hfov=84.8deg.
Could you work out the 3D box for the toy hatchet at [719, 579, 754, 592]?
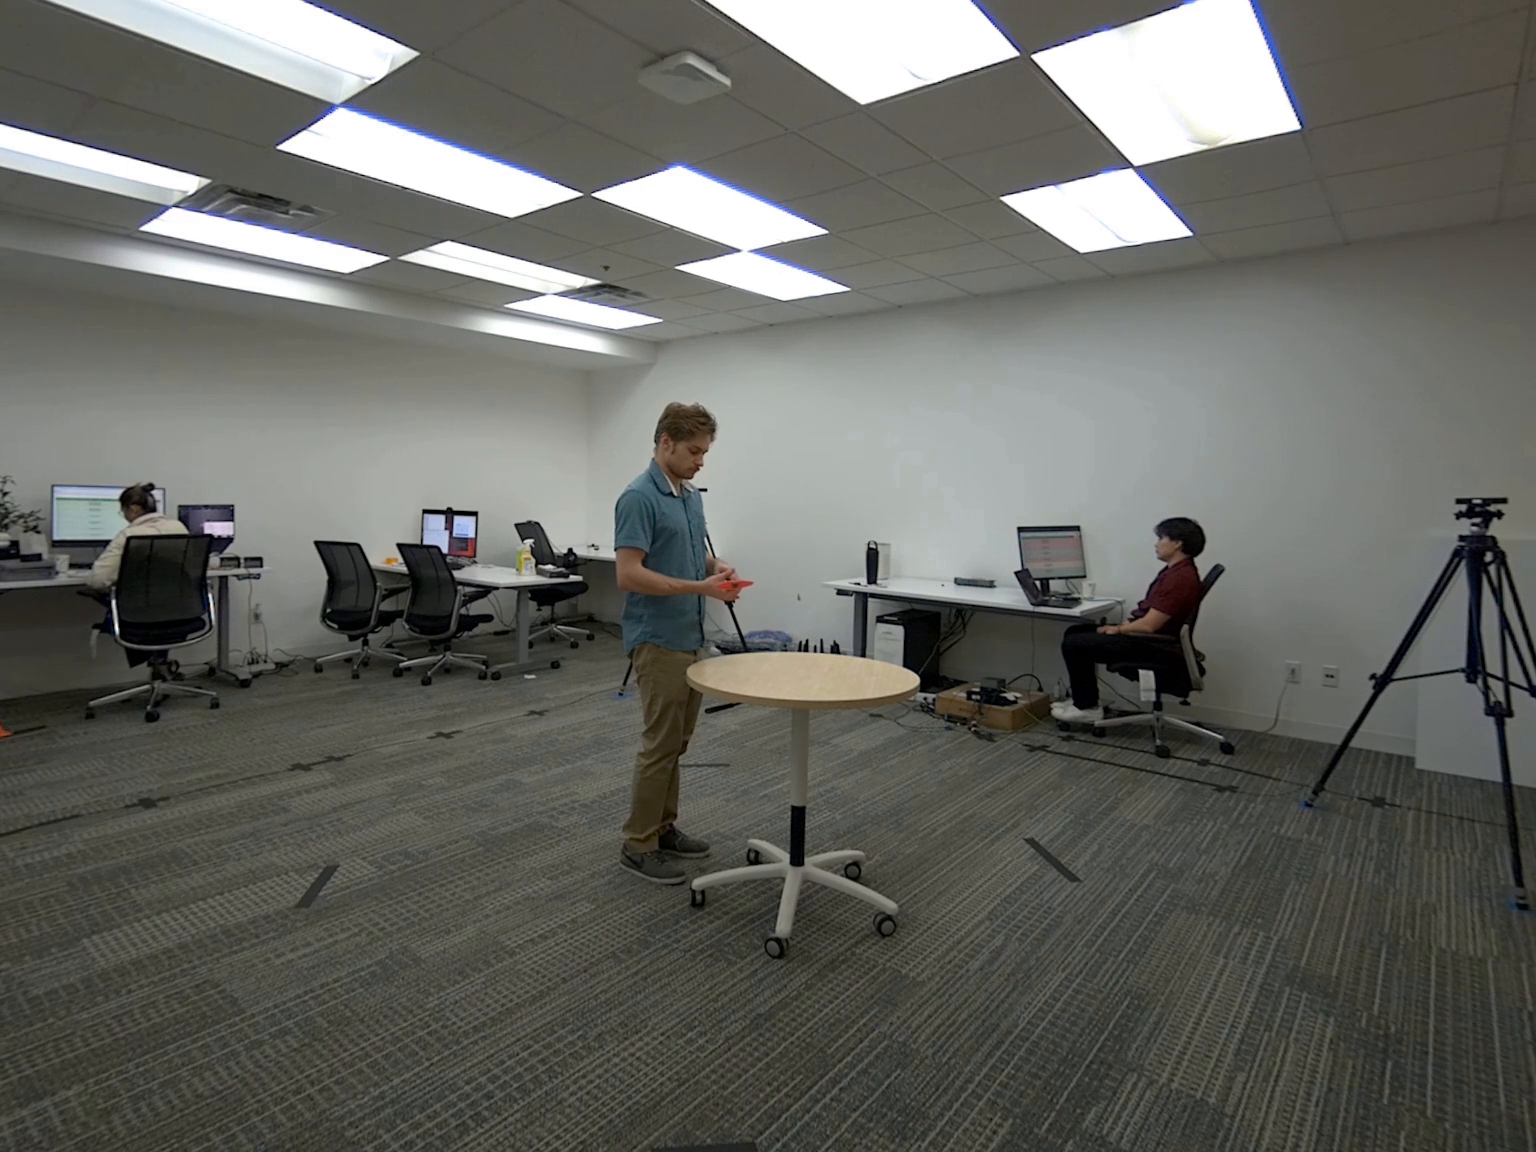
[{"bbox_3d":[-0.138,0.023,2.996,0.132,0.029,0.268,-5,2,8],"label":"toy hatchet"}]
